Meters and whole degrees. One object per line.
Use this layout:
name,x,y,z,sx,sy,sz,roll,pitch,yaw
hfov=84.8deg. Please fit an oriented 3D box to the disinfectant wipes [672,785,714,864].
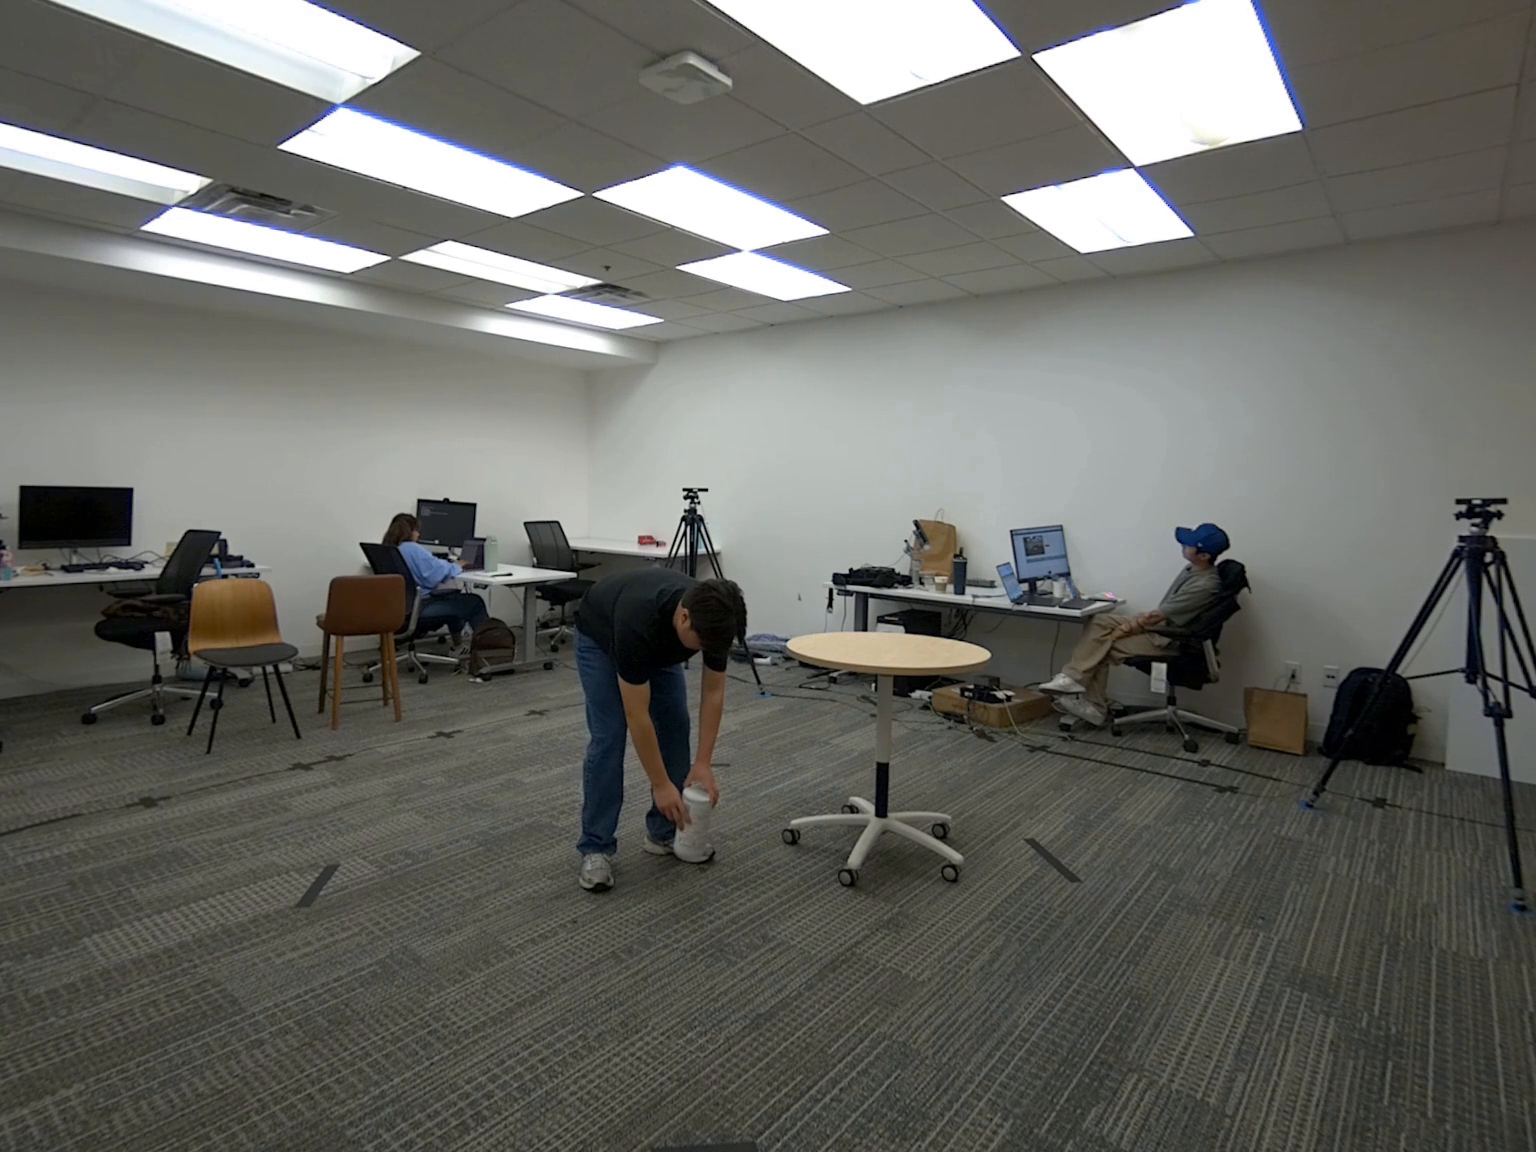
disinfectant wipes,-0.262,0.841,2.942,0.117,0.216,0.119,9,7,-3
